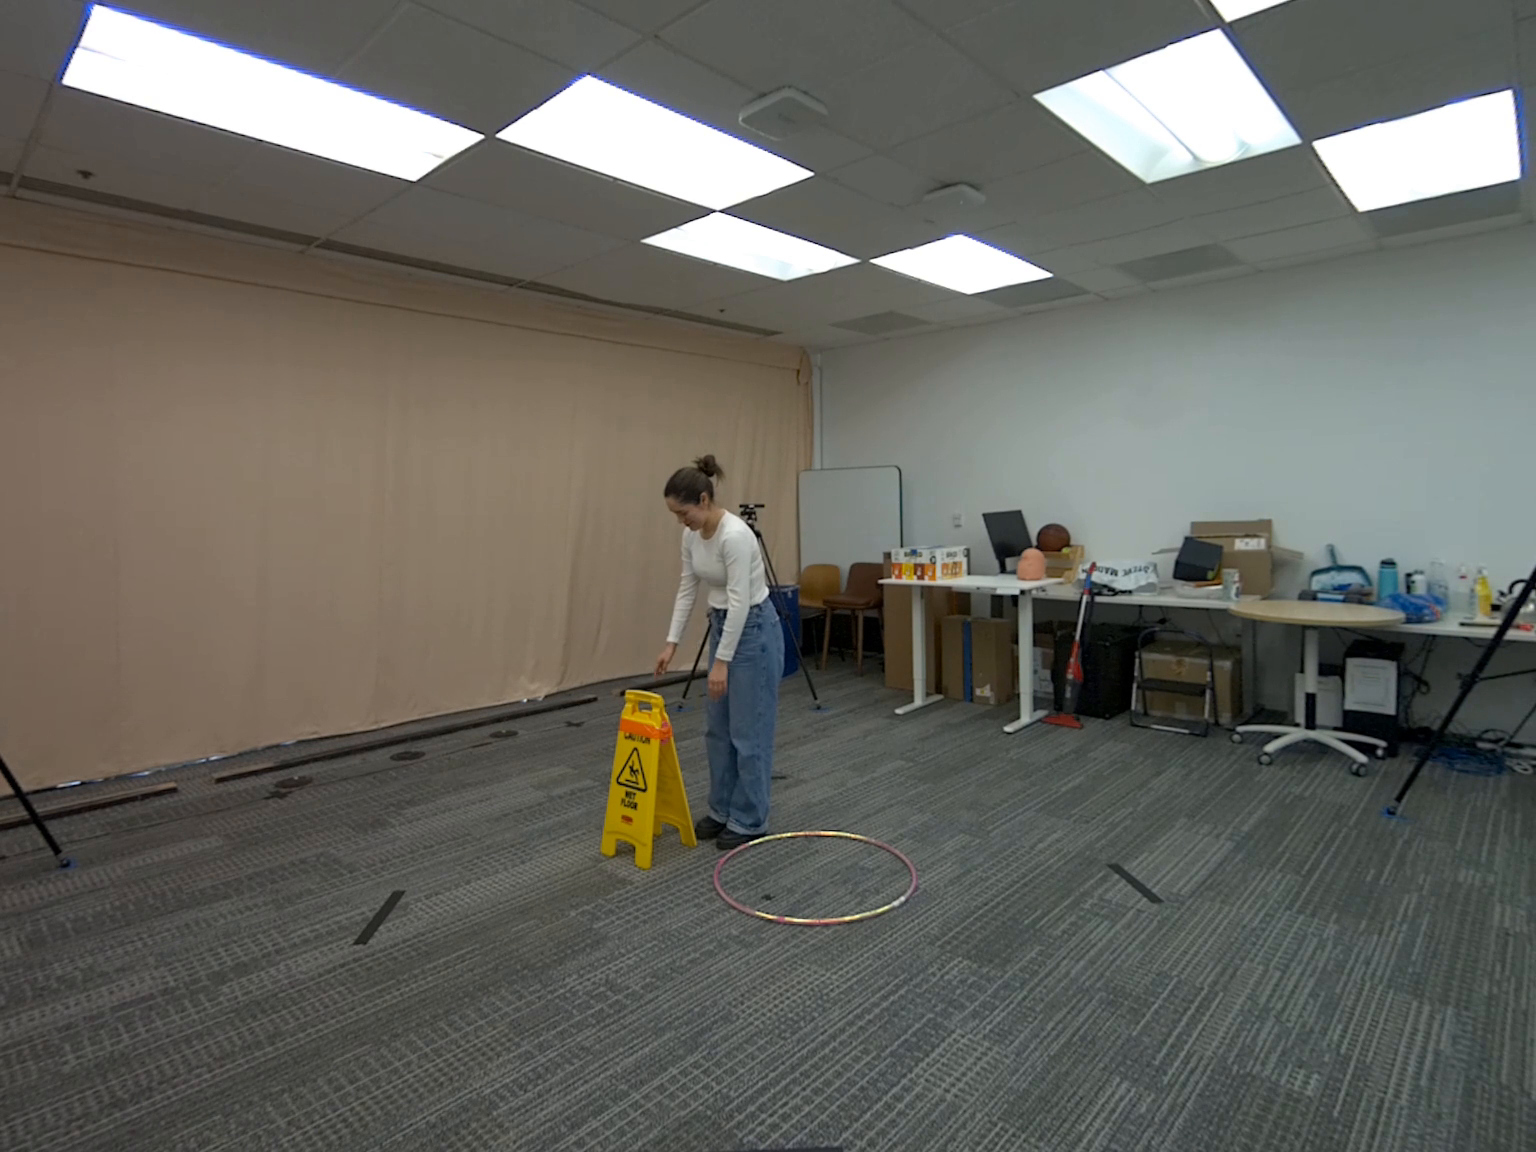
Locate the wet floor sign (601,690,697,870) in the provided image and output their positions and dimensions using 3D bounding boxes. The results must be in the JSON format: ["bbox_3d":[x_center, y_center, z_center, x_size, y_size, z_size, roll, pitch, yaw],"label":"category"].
[{"bbox_3d":[-0.489,0.789,3.405,0.291,0.645,0.281,0,4,39],"label":"wet floor sign"}]
